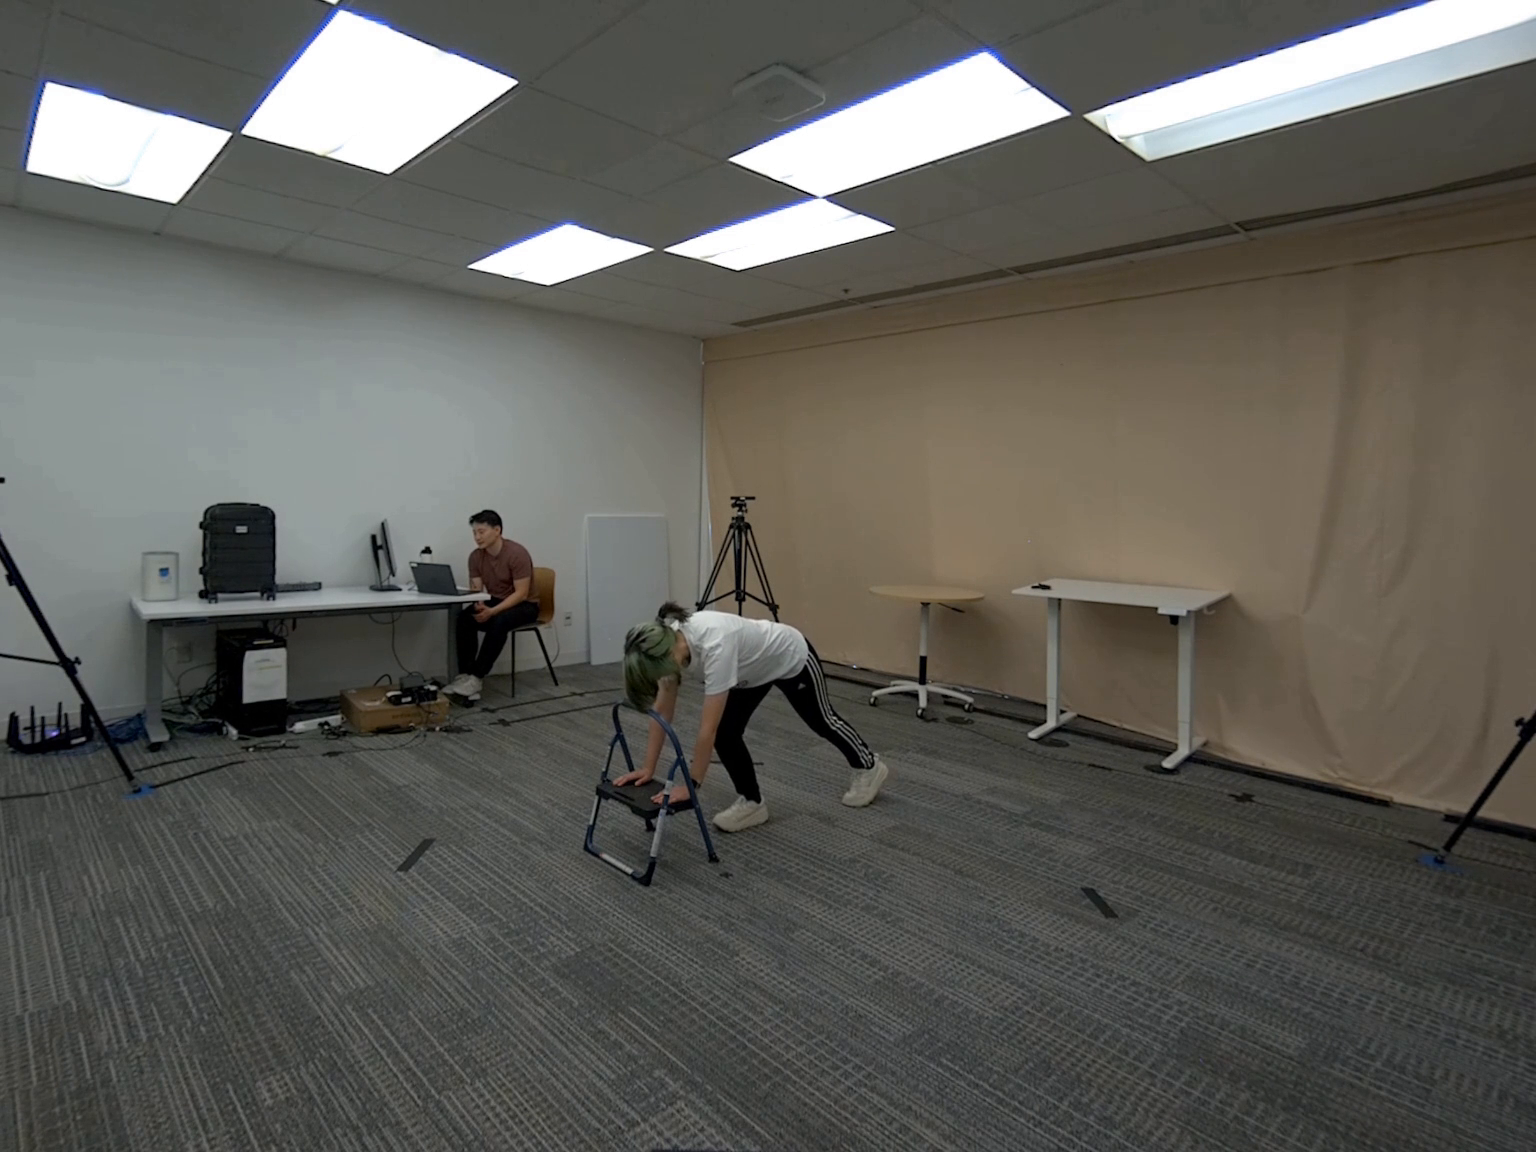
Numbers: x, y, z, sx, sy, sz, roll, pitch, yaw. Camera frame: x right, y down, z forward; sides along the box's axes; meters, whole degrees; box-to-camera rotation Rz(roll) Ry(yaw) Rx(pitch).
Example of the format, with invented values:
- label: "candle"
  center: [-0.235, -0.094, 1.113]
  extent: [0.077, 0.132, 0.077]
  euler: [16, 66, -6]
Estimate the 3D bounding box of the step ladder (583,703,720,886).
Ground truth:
- label: "step ladder"
  center: [-0.458, 0.783, 3.243]
  extent: [0.341, 0.605, 0.442]
  euler: [-1, 5, -44]
